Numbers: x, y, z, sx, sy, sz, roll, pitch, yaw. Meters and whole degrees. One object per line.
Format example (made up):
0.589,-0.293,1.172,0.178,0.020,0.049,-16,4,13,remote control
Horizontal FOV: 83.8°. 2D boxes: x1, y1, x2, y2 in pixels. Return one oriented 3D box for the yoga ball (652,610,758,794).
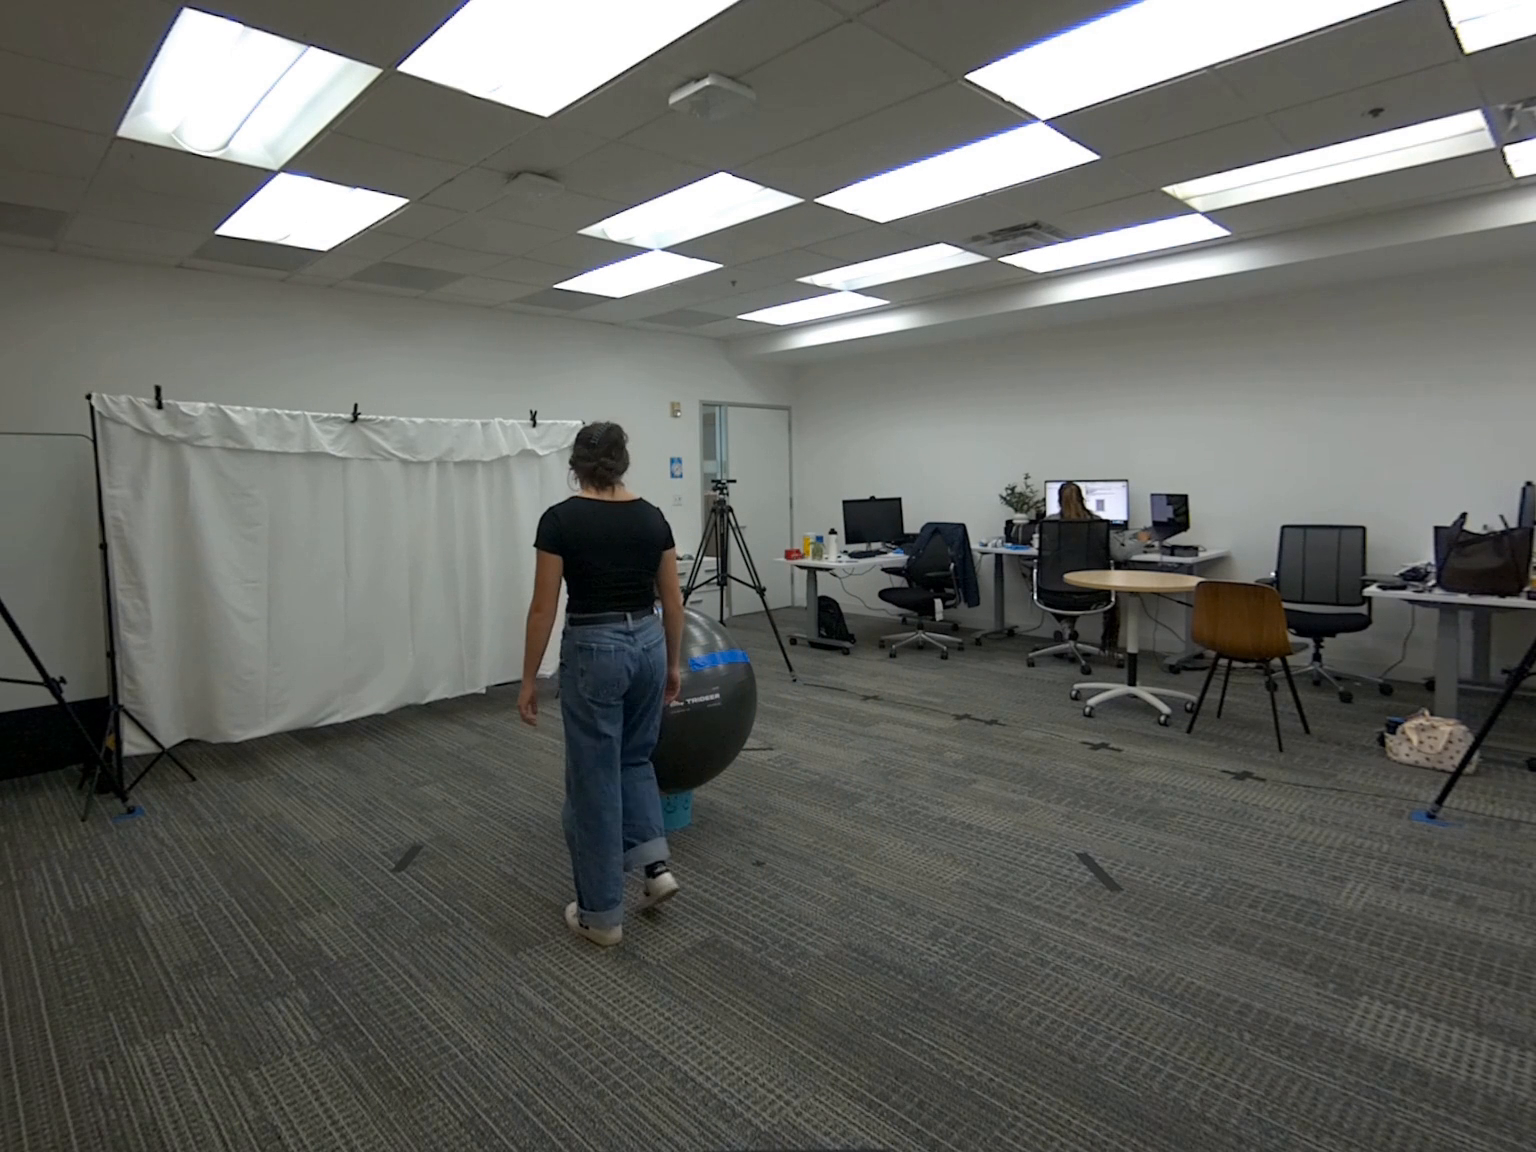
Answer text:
-0.429,0.501,3.496,0.757,0.755,0.762,-1,5,-2,yoga ball
